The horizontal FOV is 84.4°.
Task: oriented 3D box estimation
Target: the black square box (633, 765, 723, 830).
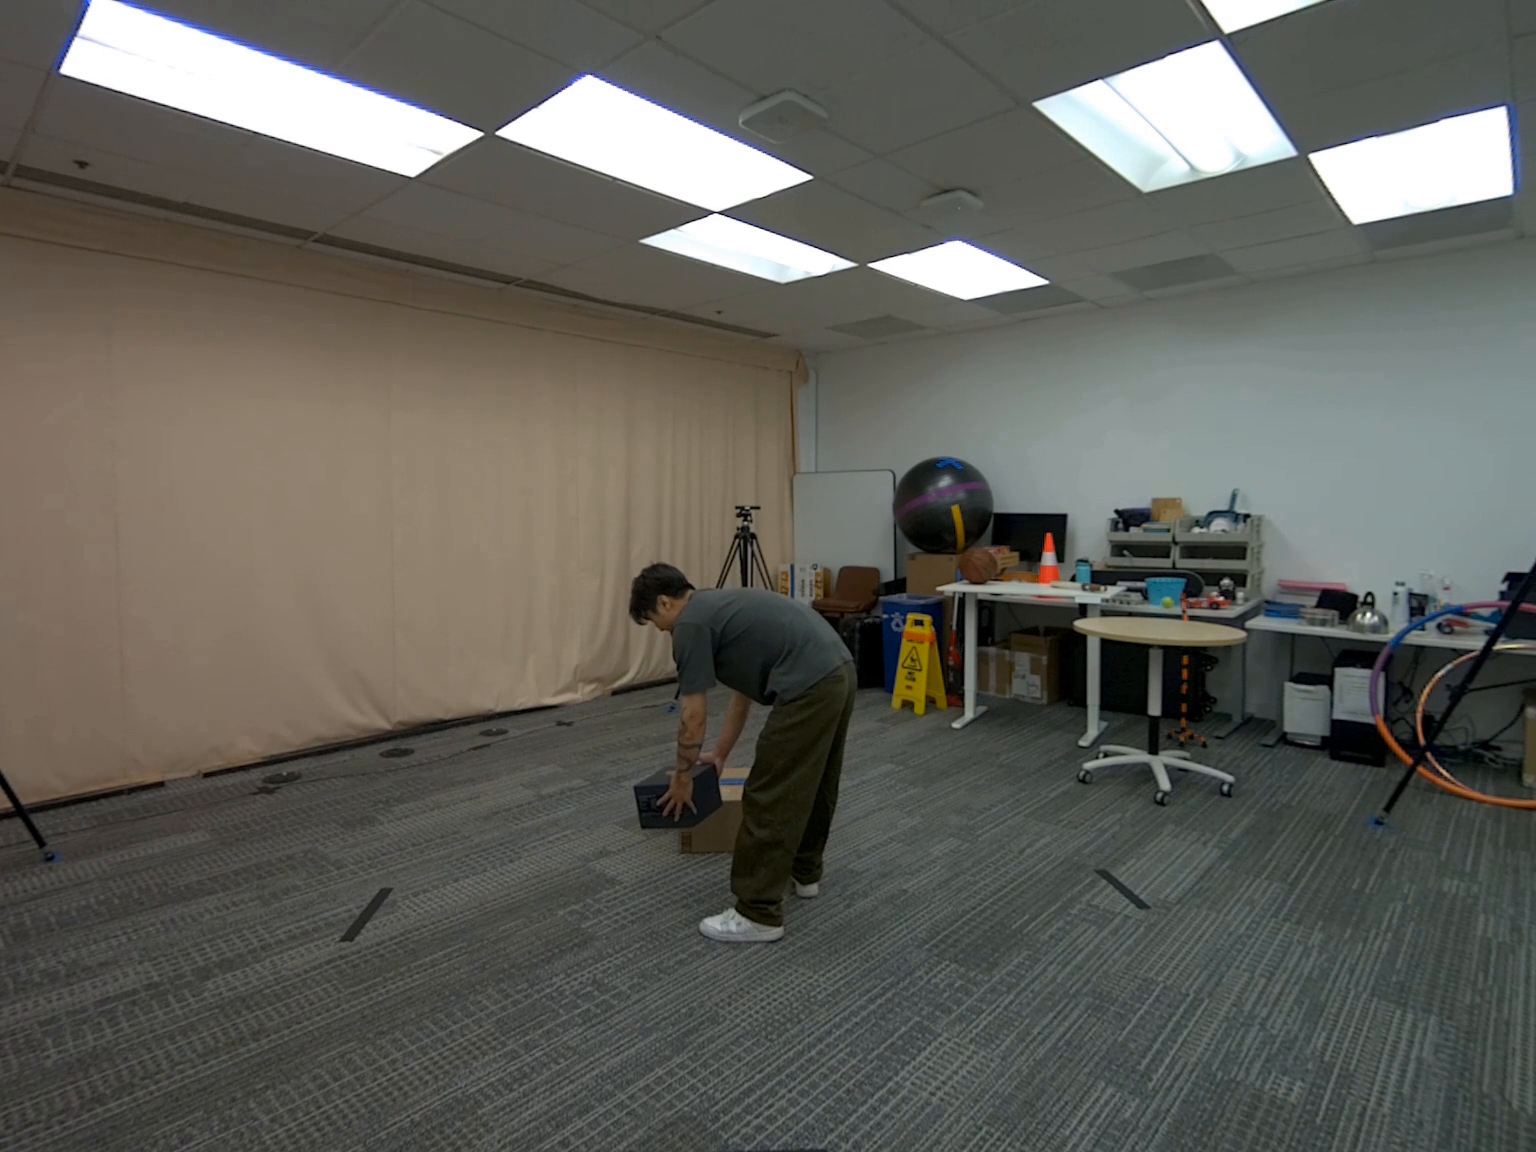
[{"bbox_3d":[-0.316,0.786,3.009,0.222,0.156,0.223,-10,3,26],"label":"black square box"}]
